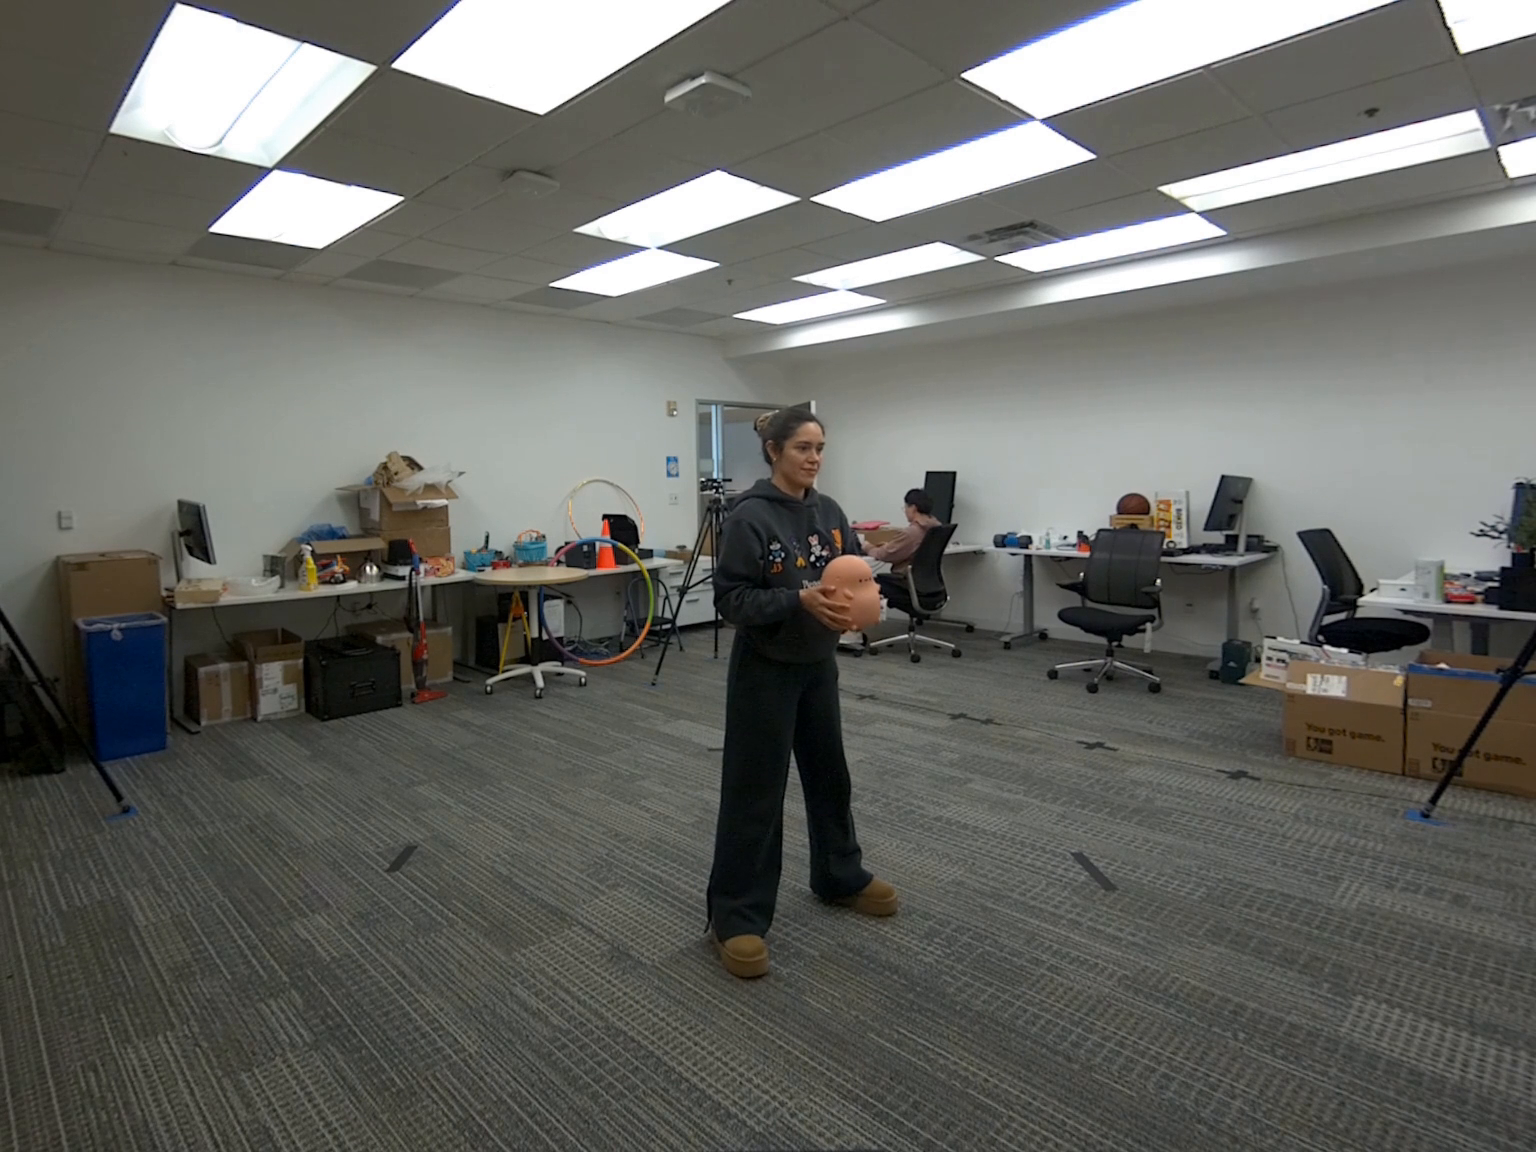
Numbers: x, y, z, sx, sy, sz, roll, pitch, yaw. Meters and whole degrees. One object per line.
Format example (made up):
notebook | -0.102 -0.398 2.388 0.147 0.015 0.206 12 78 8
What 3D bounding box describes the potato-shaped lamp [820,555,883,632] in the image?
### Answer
potato-shaped lamp | 0.216 0.044 2.374 0.161 0.196 0.177 -9 14 -37
